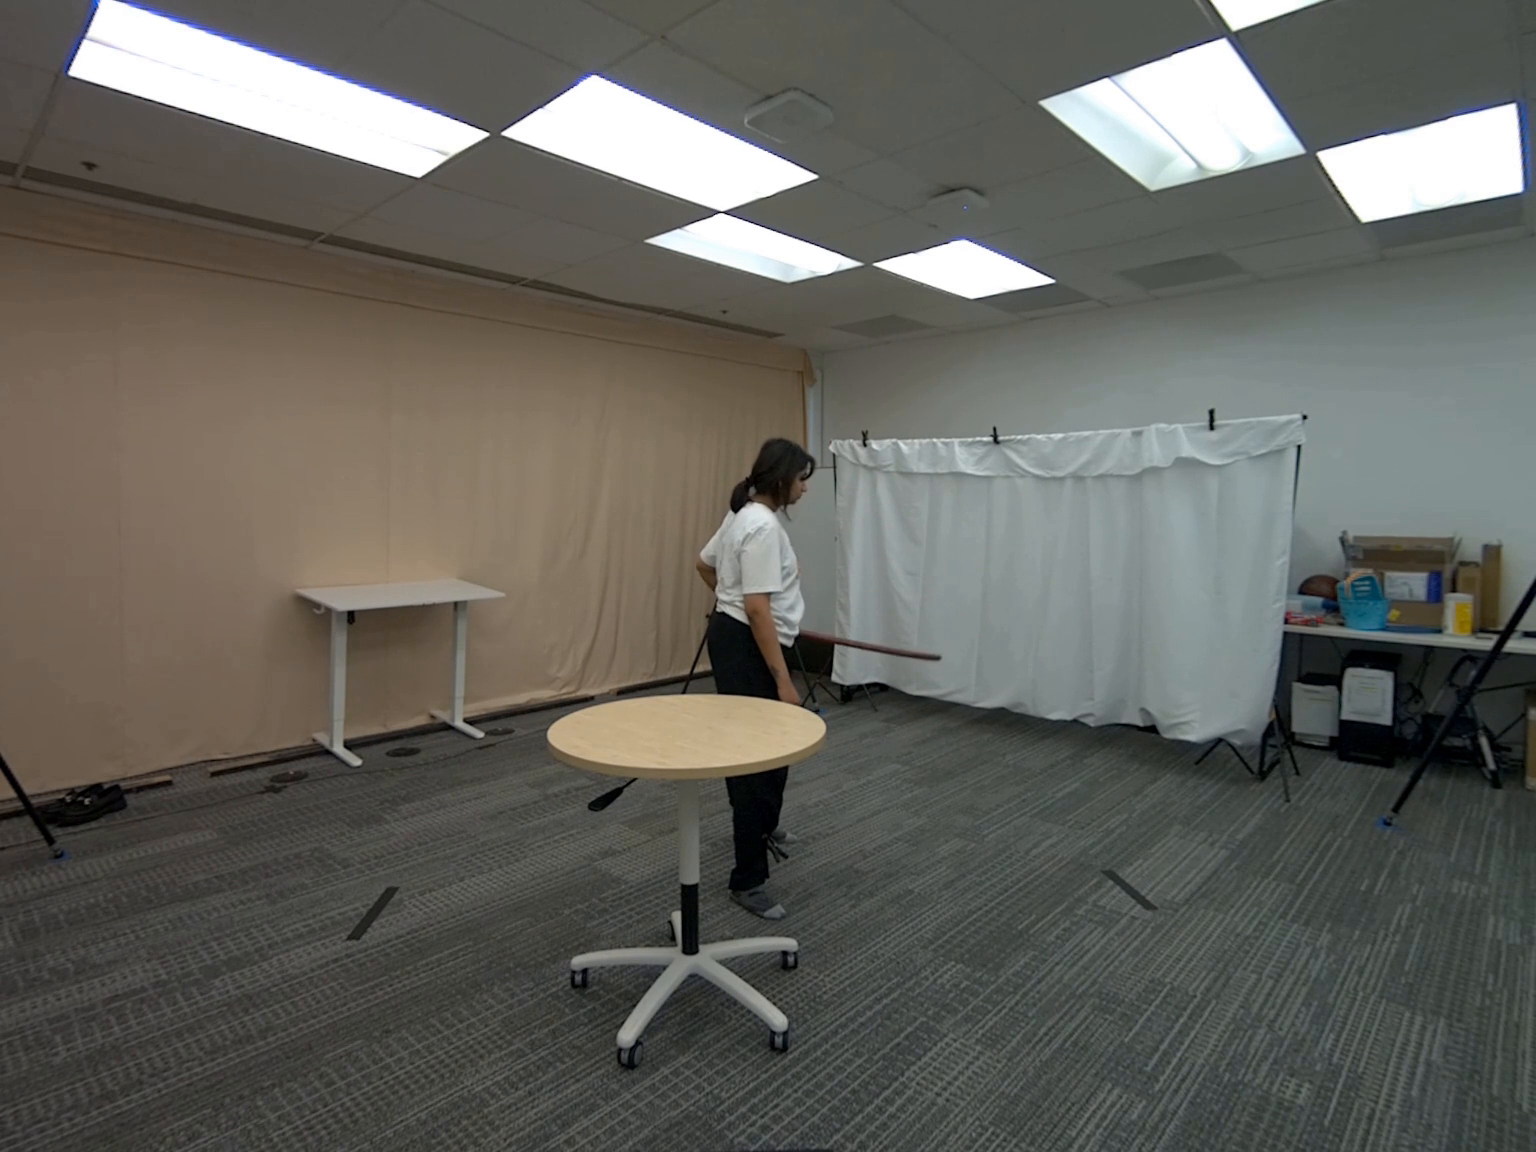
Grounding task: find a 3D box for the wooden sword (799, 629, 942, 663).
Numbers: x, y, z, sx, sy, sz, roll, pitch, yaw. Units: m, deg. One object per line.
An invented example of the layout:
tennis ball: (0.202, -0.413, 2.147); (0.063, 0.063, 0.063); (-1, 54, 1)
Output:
wooden sword: (0.372, 0.296, 3.700); (1.005, 0.024, 0.052); (11, 13, -17)
